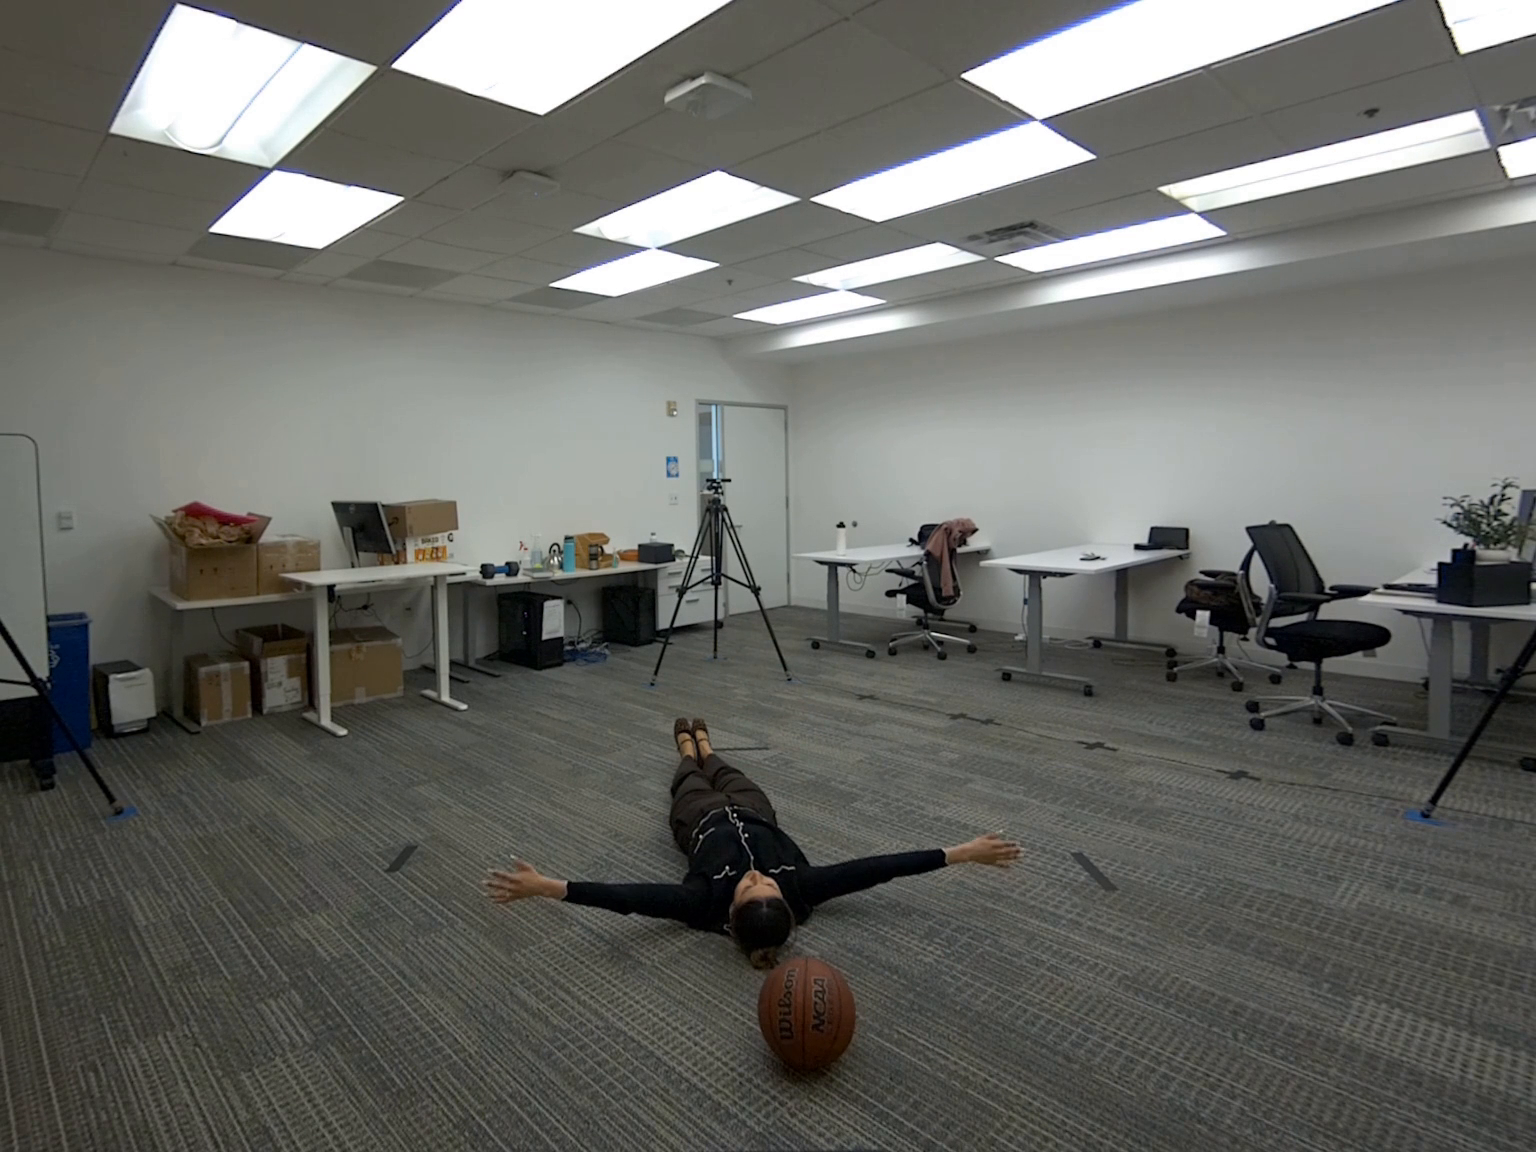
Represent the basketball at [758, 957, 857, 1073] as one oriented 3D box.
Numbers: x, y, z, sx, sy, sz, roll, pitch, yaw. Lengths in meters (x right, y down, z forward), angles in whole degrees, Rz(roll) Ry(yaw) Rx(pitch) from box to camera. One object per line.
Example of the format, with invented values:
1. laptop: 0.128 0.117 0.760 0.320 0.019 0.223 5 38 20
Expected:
1. basketball: 0.100 1.047 2.058 0.236 0.235 0.237 -1 5 -2
